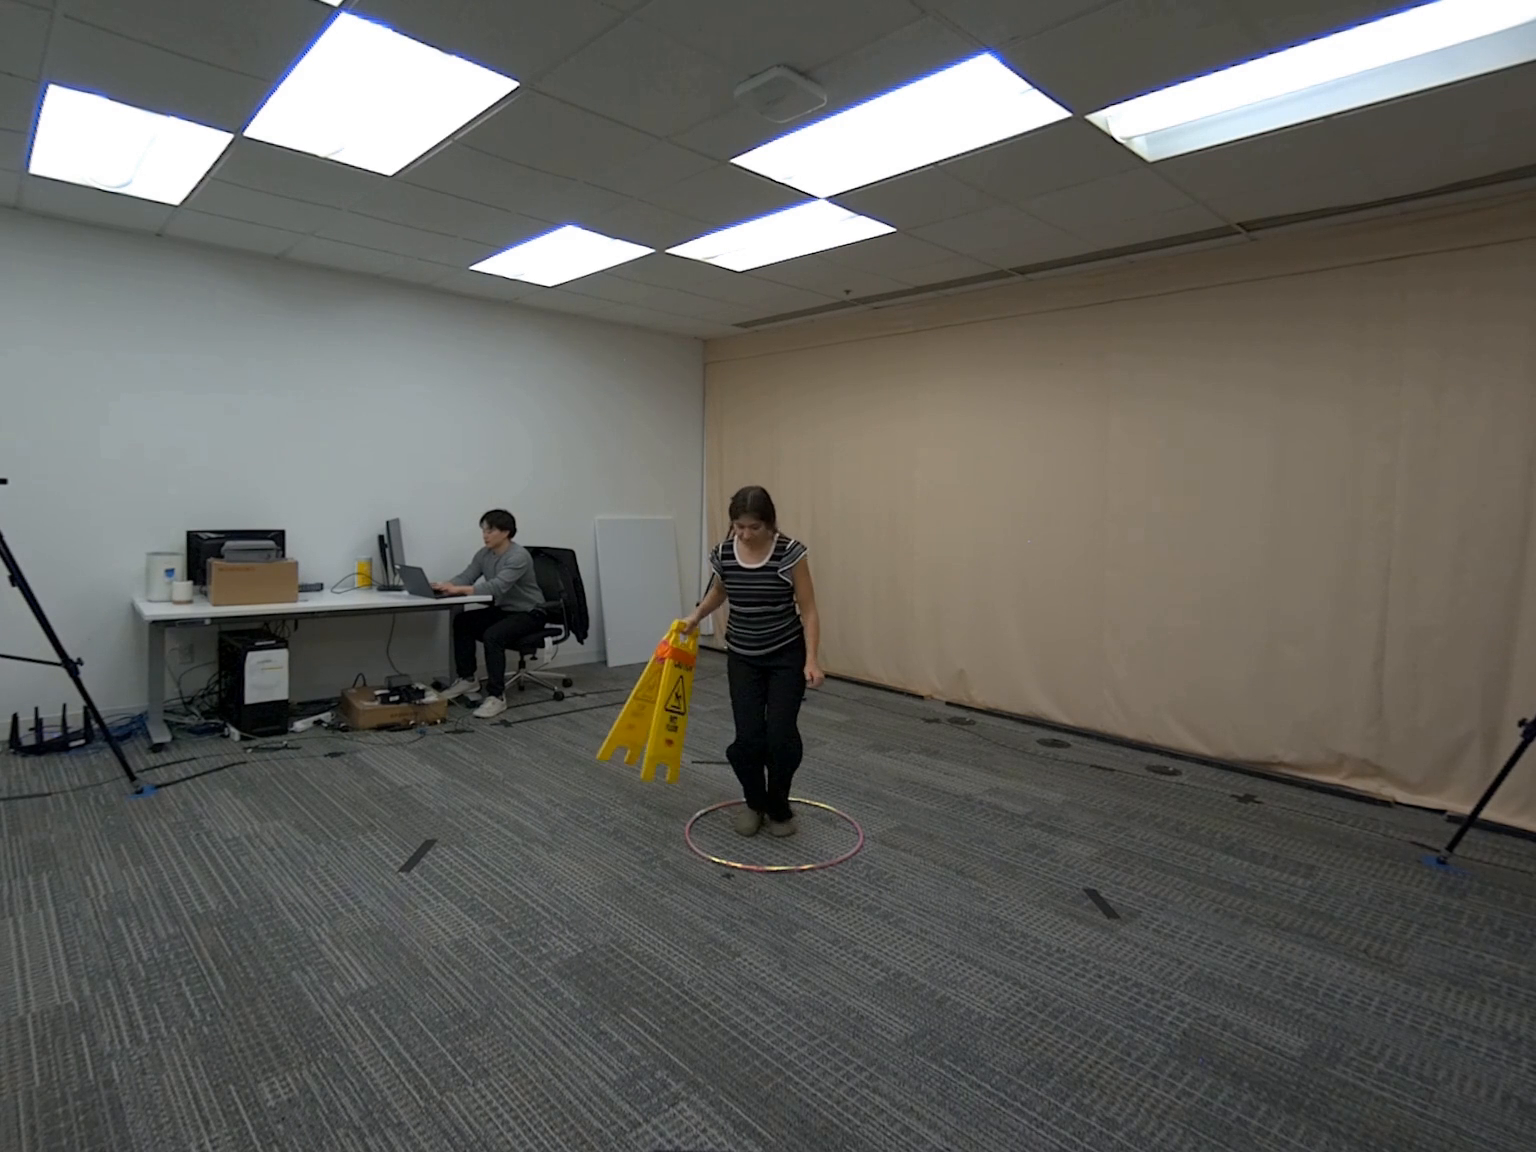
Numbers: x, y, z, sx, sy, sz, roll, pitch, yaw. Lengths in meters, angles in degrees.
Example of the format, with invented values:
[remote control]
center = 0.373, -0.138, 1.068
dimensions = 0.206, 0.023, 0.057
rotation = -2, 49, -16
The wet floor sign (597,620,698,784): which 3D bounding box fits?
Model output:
[wet floor sign]
center = -0.431, 0.483, 3.561
dimensions = 0.297, 0.648, 0.274
rotation = 14, -9, 29
